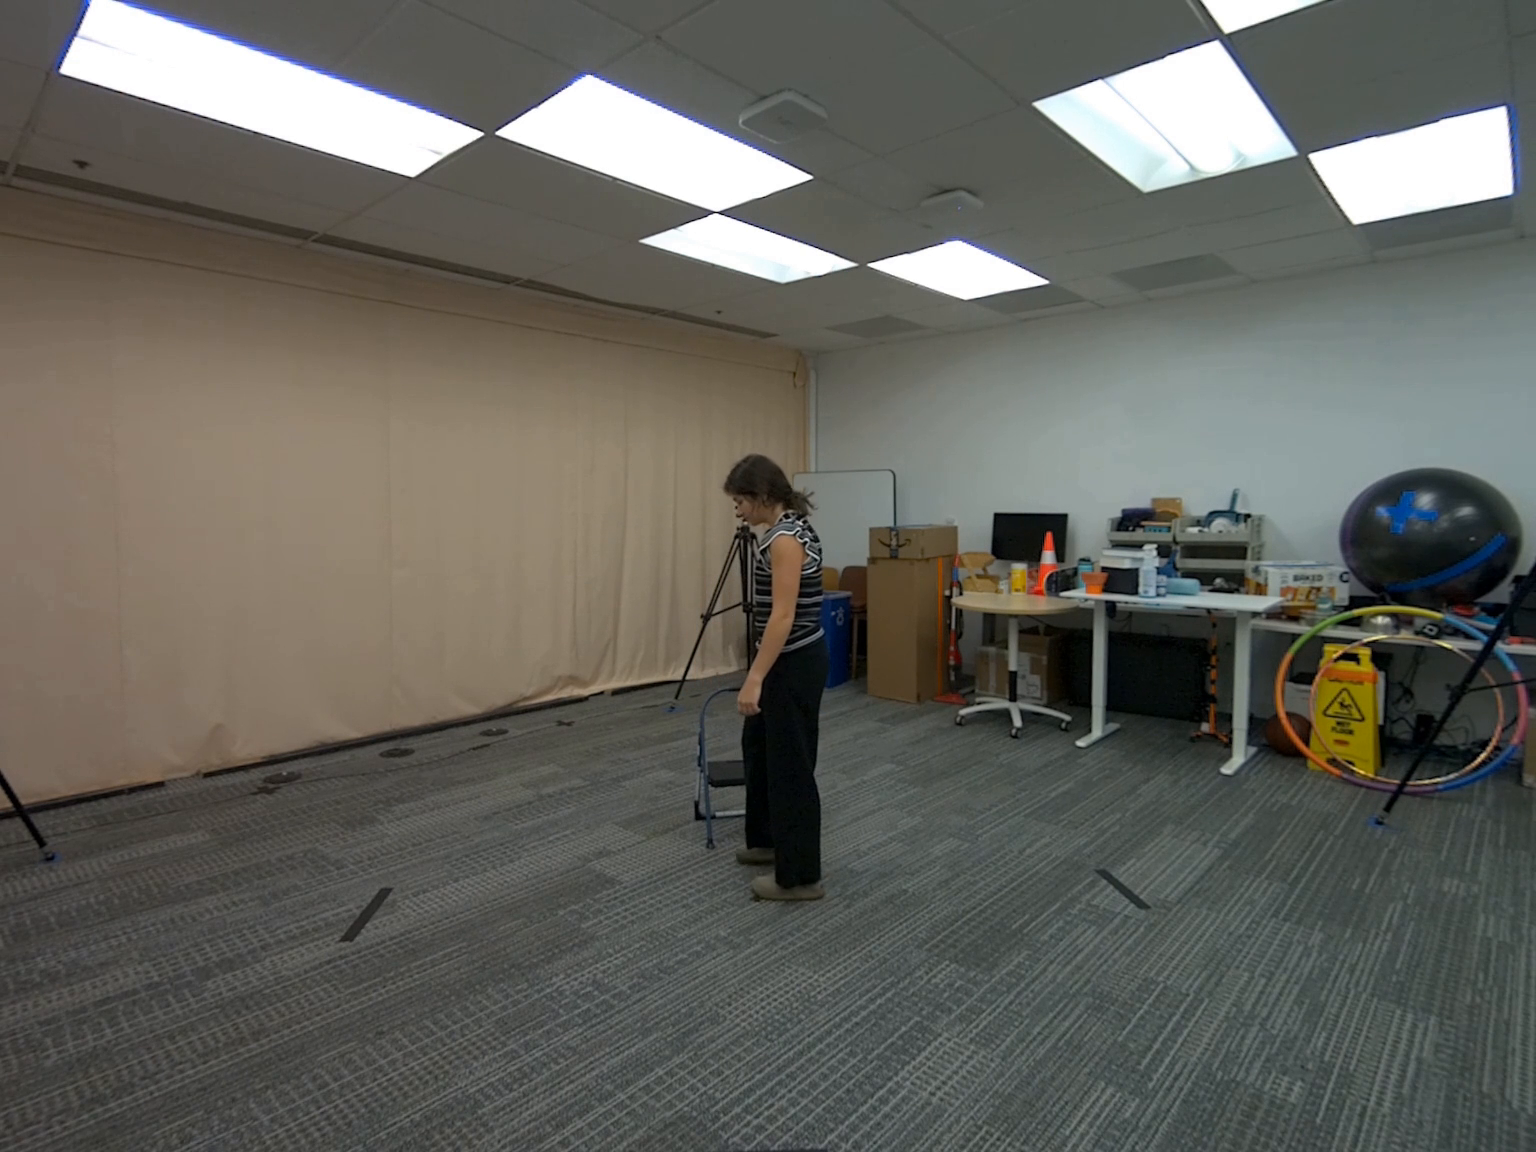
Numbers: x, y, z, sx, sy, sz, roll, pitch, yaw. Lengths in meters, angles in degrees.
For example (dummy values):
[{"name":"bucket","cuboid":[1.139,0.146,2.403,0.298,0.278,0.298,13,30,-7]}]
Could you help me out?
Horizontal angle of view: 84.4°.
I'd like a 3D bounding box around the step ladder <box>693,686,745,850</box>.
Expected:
[{"name":"step ladder","cuboid":[-0.084,0.792,3.618,0.425,0.605,0.355,-1,4,-13]}]
